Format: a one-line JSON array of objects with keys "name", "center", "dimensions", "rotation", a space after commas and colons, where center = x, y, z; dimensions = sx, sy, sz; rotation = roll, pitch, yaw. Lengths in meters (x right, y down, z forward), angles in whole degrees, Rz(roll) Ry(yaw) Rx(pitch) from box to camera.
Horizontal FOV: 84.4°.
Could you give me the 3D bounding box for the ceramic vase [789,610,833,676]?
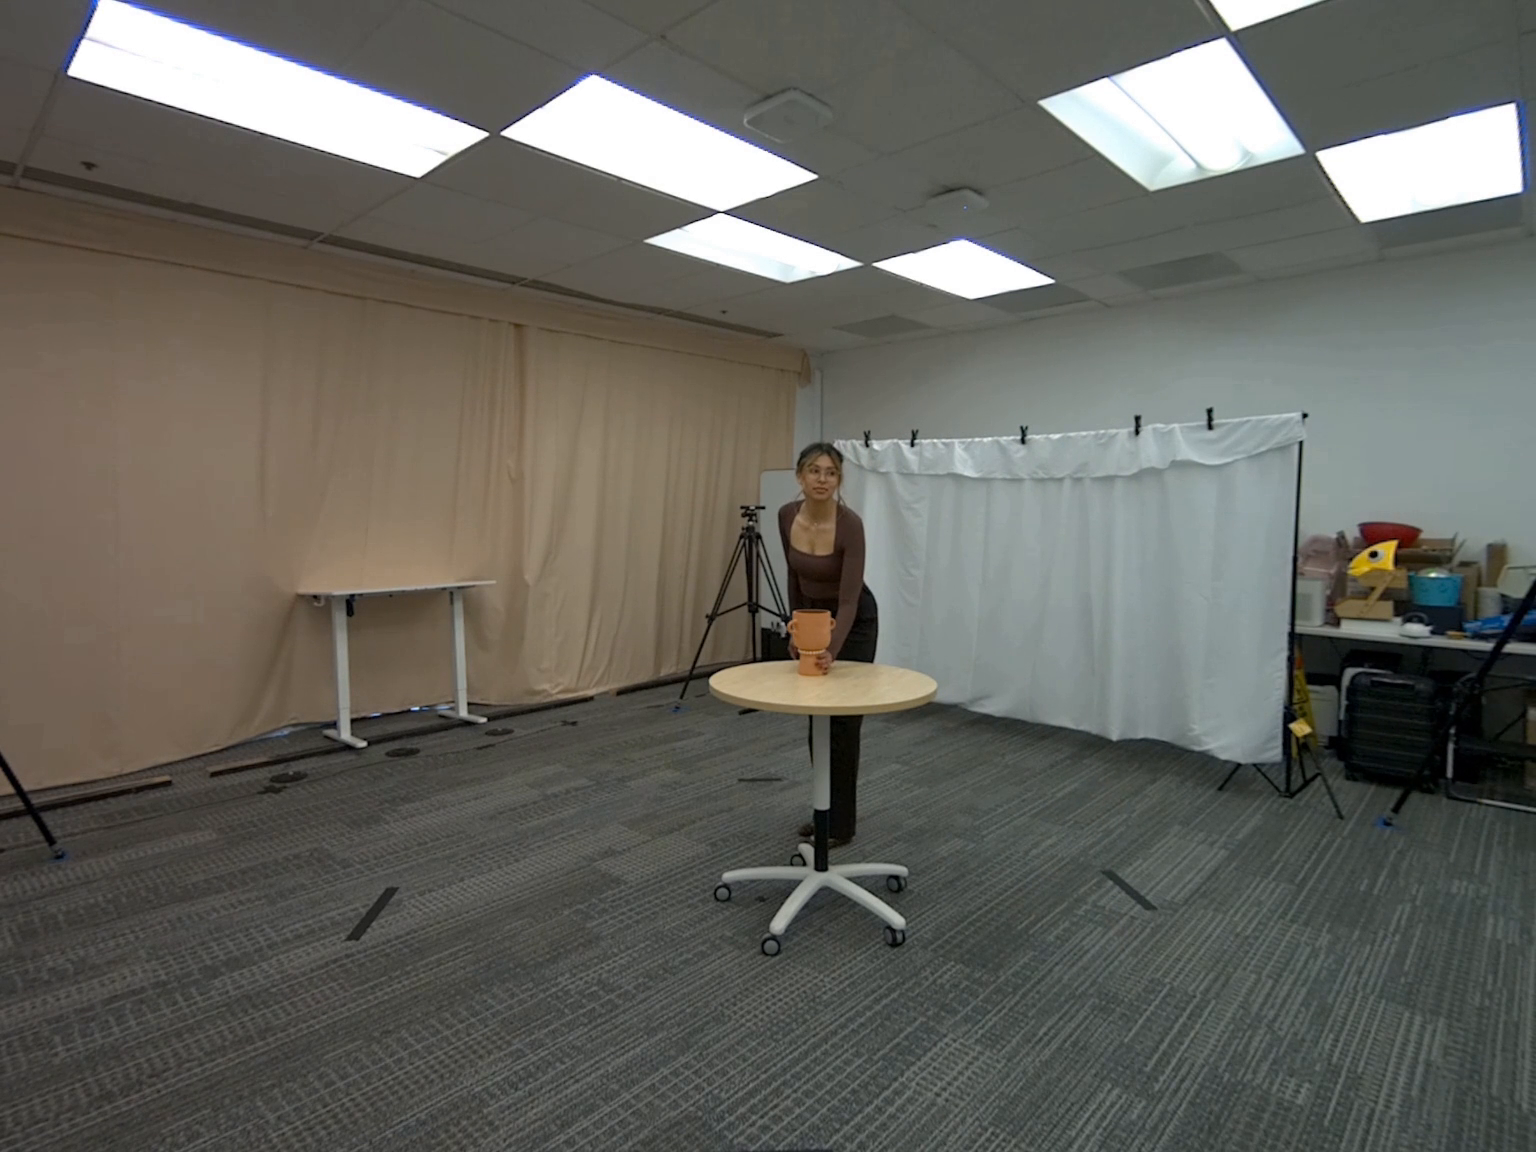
[{"name": "ceramic vase", "center": [0.157, 0.236, 2.987], "dimensions": [0.161, 0.219, 0.133], "rotation": [1, 3, 12]}]
